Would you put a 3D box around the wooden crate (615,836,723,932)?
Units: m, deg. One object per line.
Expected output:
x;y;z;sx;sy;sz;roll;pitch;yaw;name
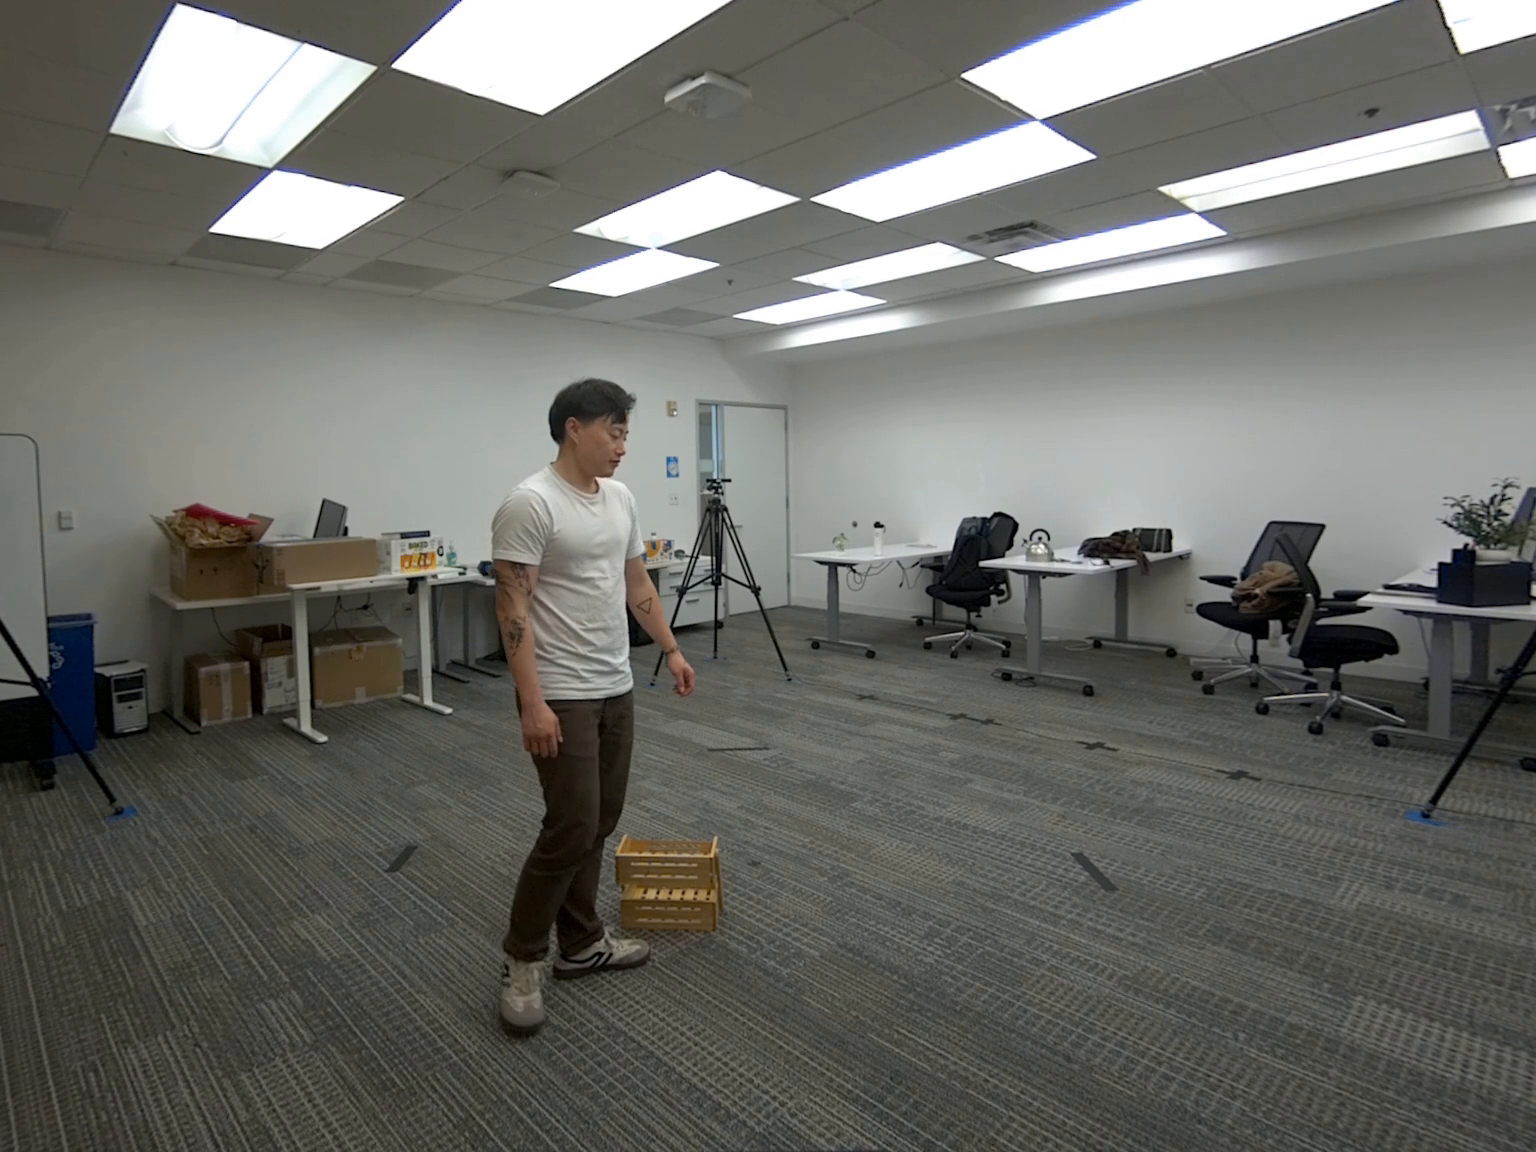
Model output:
-0.307;0.956;2.753;0.326;0.272;0.302;-1;6;3;wooden crate
